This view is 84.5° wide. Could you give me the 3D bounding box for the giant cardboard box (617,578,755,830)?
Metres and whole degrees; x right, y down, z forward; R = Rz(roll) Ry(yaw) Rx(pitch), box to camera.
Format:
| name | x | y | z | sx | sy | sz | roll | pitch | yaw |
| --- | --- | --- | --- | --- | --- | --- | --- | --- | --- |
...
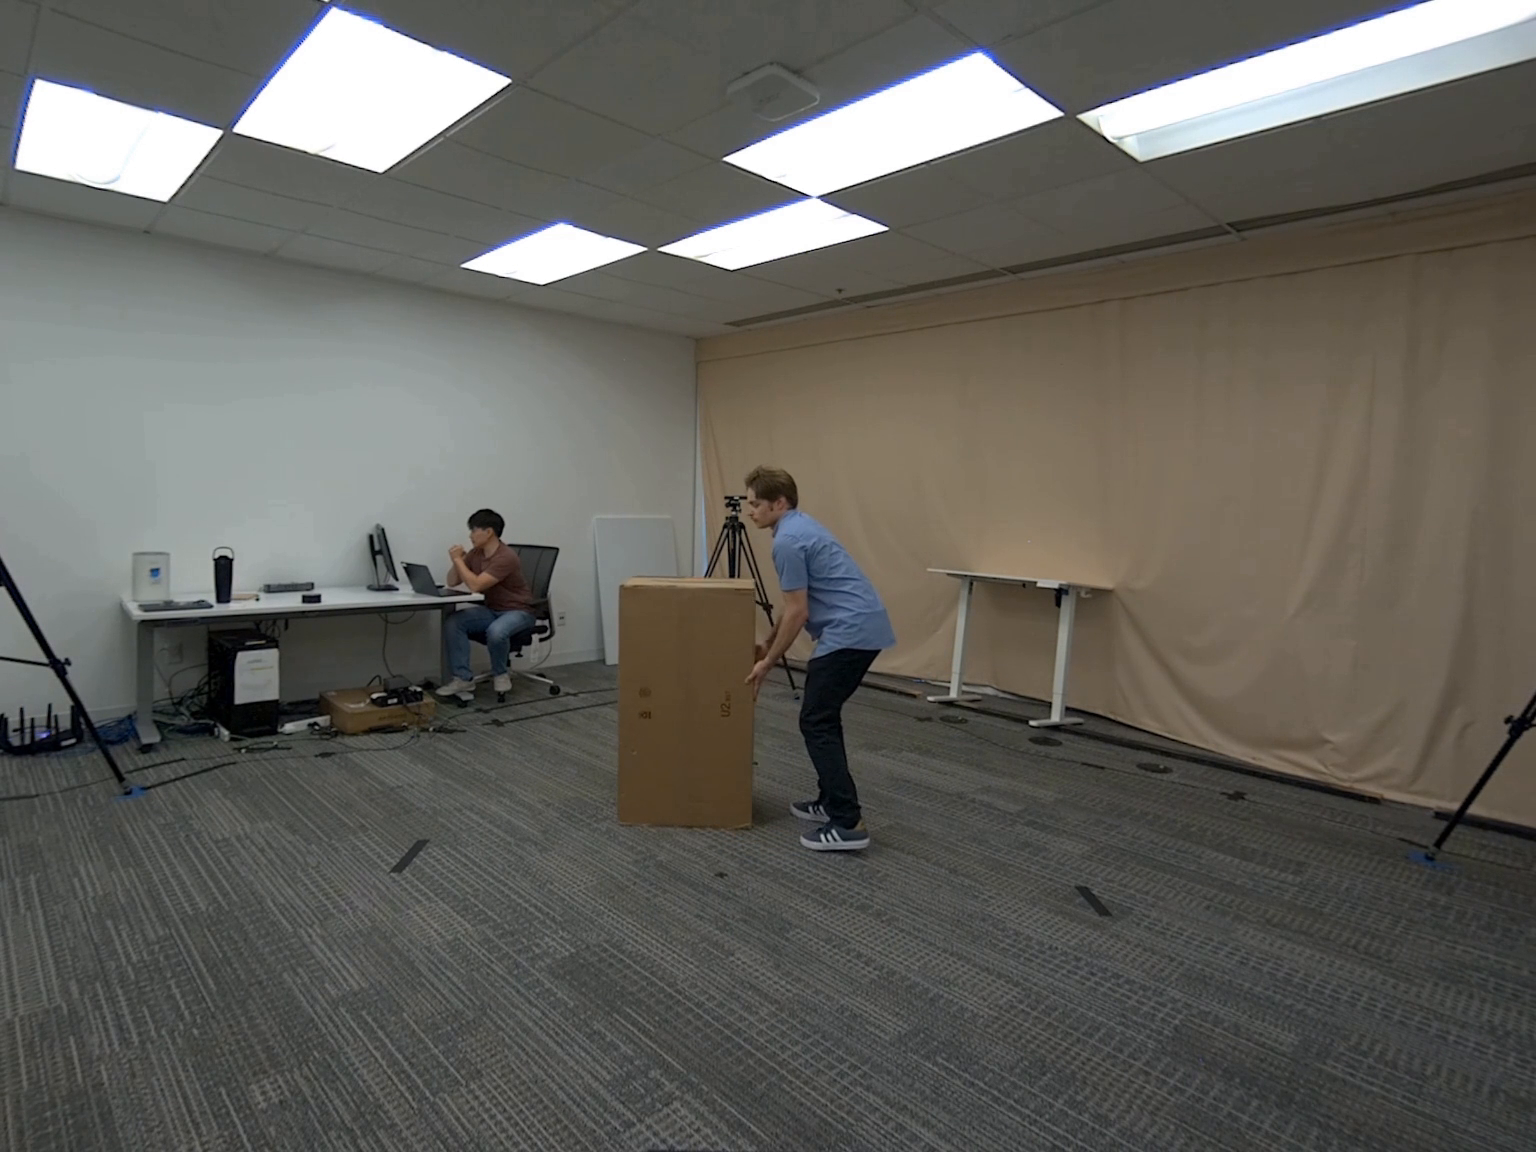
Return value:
| name | x | y | z | sx | sy | sz | roll | pitch | yaw |
| --- | --- | --- | --- | --- | --- | --- | --- | --- | --- |
| giant cardboard box | -0.352 | 0.531 | 3.732 | 0.579 | 1.023 | 0.426 | 1 | 3 | 2 |
